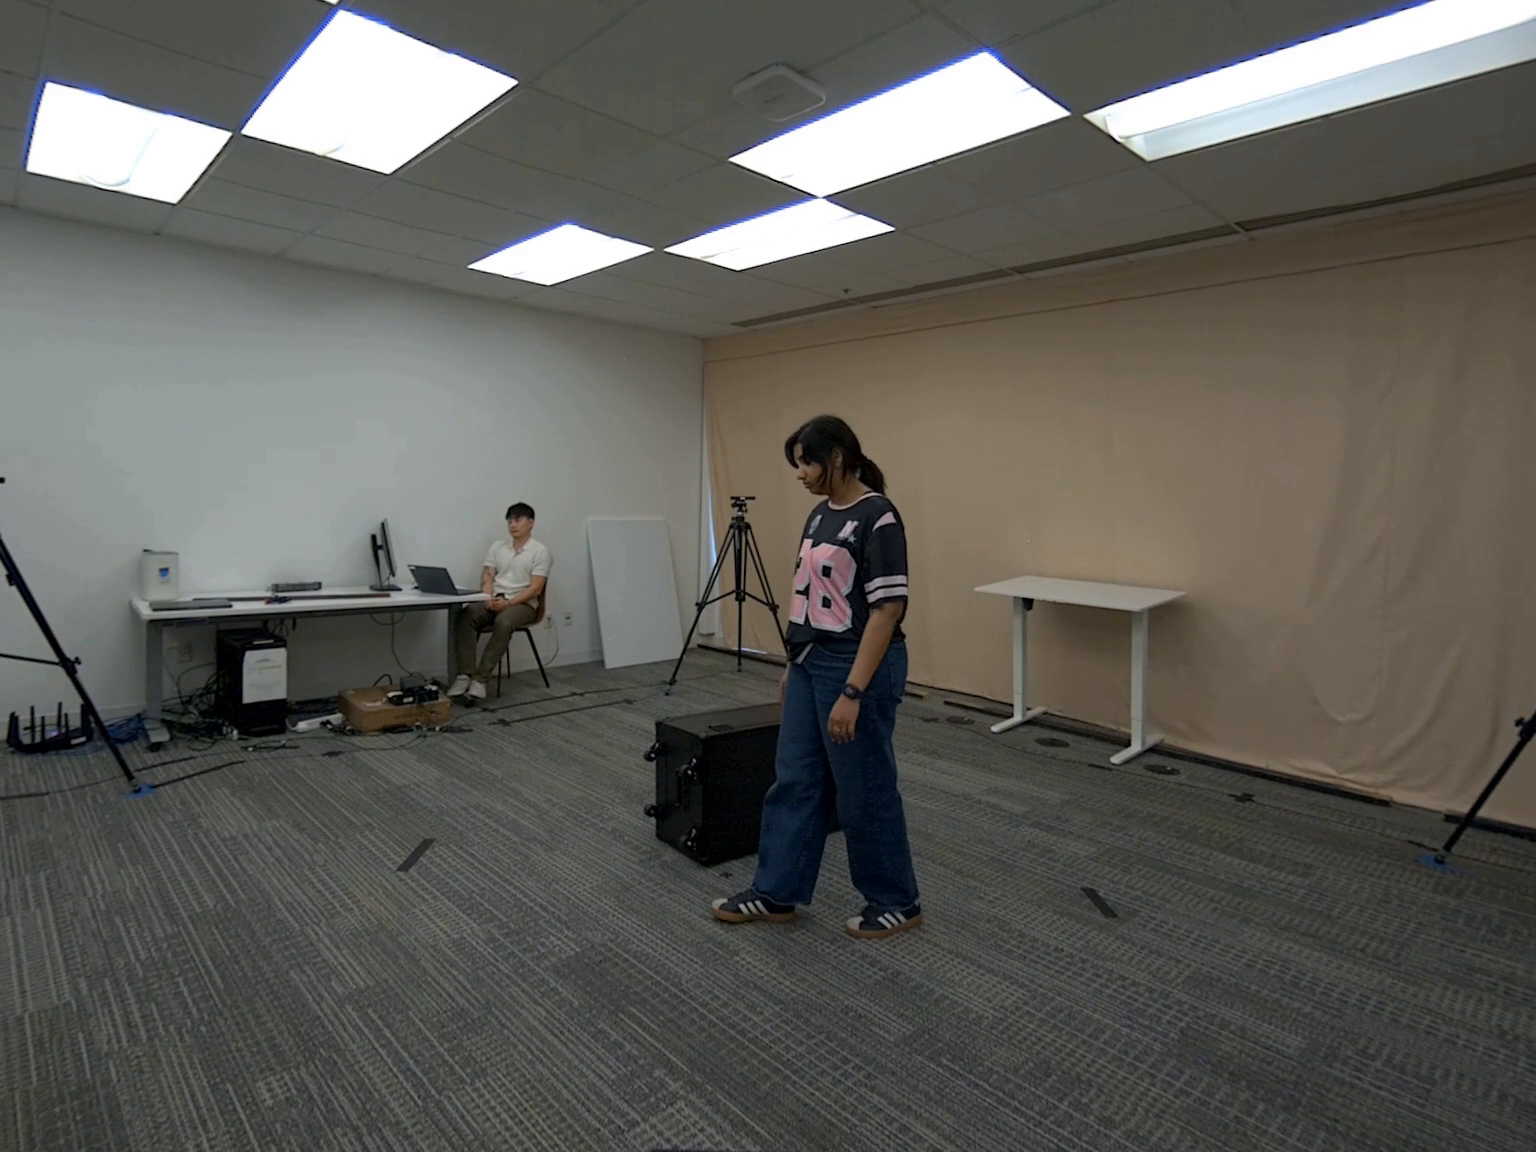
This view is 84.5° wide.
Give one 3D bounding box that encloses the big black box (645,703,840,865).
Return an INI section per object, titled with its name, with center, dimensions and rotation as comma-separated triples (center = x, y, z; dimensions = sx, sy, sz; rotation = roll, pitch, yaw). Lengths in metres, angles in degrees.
[big black box]
center = -0.083, 0.817, 3.489
dimensions = 0.849, 0.522, 0.395
rotation = -2, 5, -37
